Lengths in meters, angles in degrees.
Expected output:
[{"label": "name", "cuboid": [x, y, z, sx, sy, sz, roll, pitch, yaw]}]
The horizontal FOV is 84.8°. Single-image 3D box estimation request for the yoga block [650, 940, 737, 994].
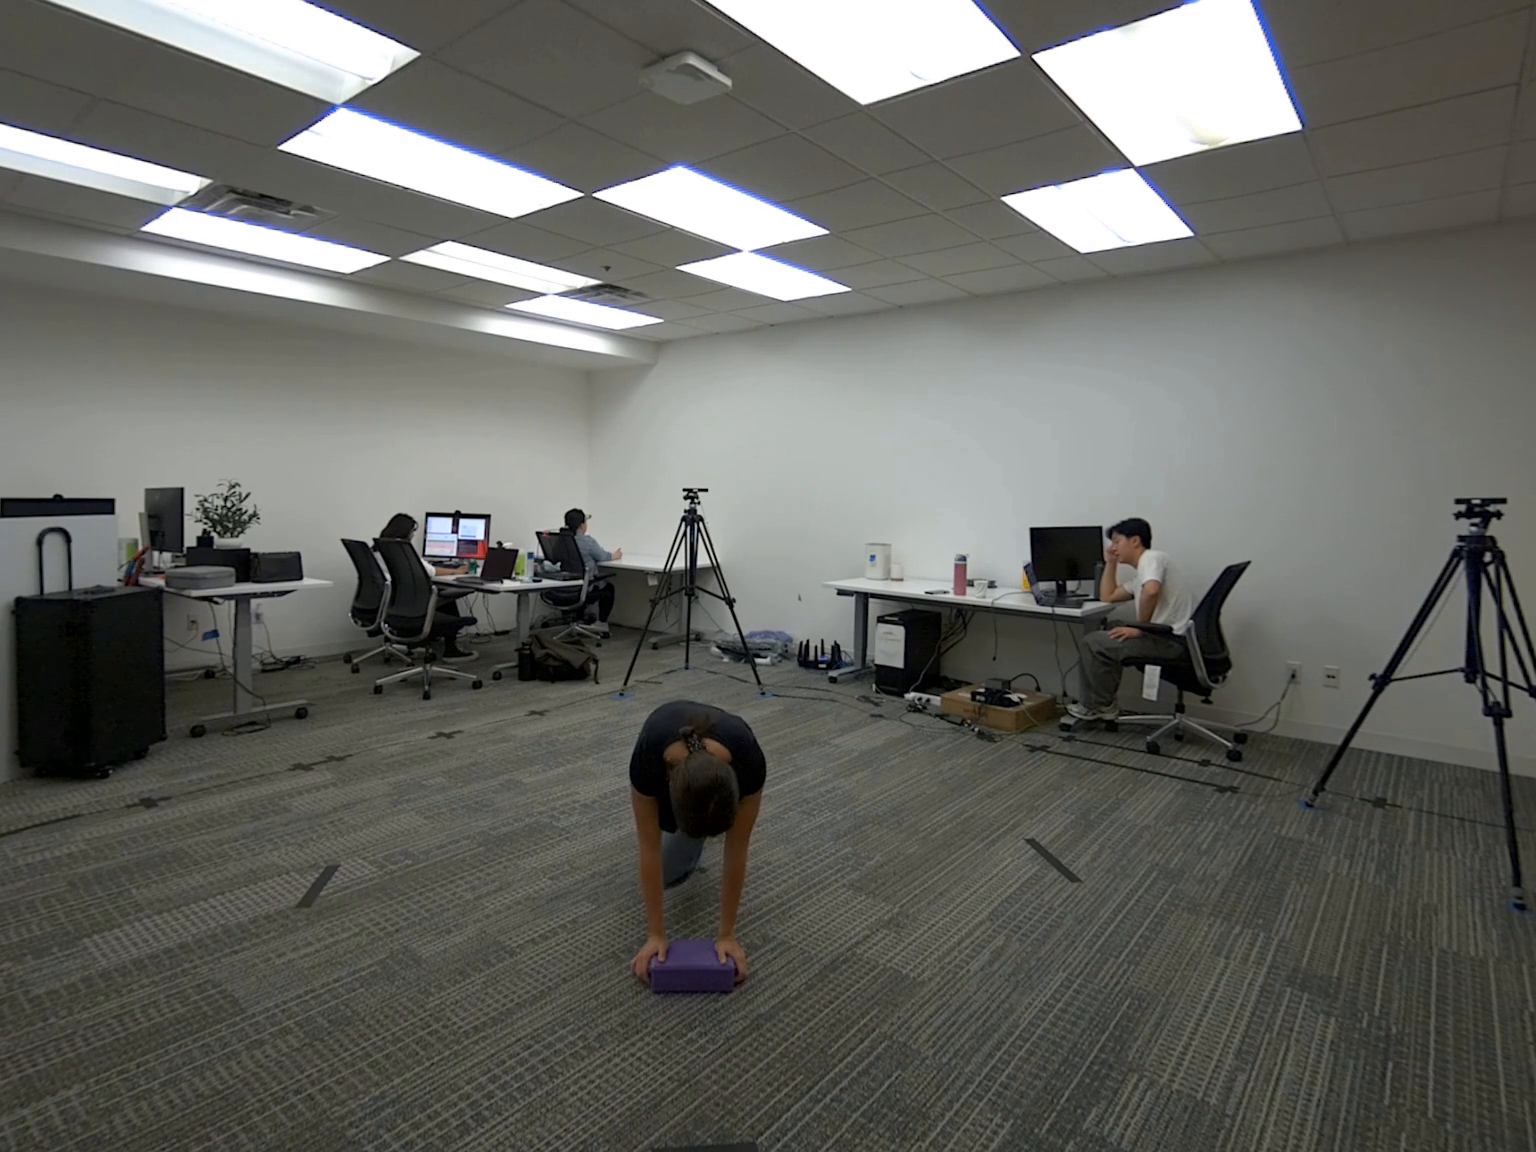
[{"label": "yoga block", "cuboid": [-0.217, 1.099, 2.406, 0.228, 0.076, 0.150, 2, 4, -5]}]
